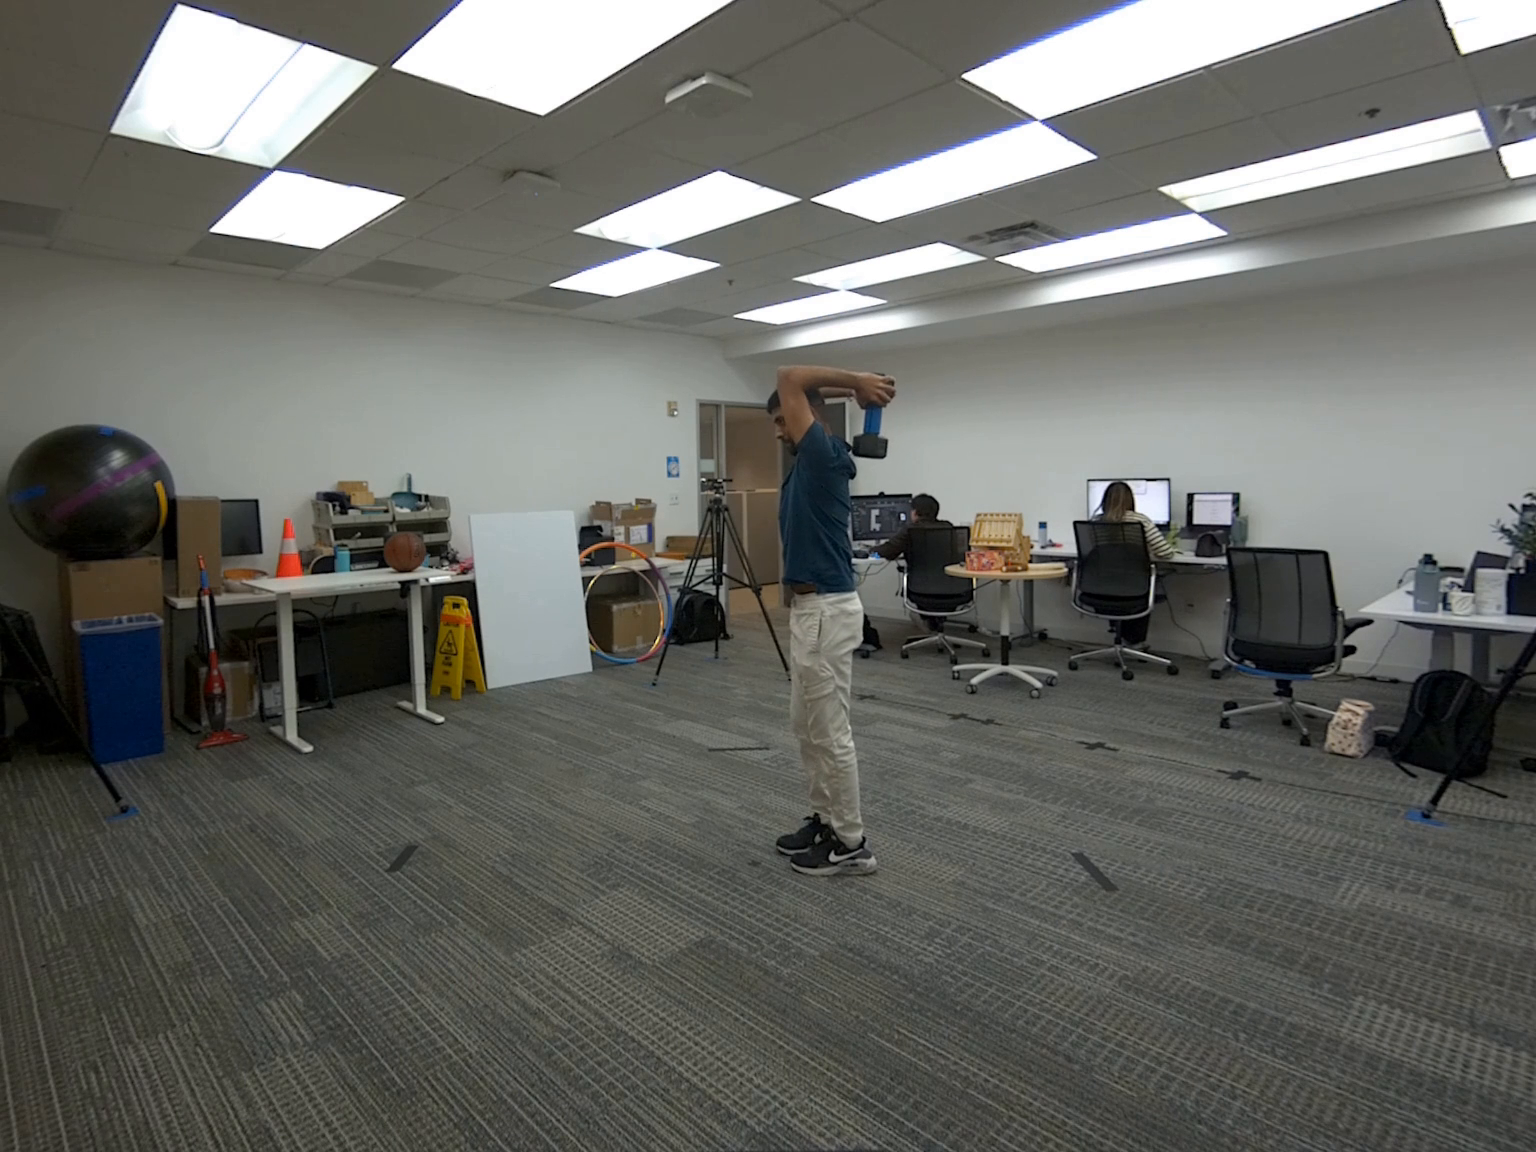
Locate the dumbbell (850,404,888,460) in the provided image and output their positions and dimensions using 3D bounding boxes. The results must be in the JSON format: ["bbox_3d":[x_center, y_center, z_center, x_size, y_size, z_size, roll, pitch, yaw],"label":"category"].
[{"bbox_3d":[0.373,-0.562,3.004,0.124,0.294,0.107,7,-1,12],"label":"dumbbell"}]
